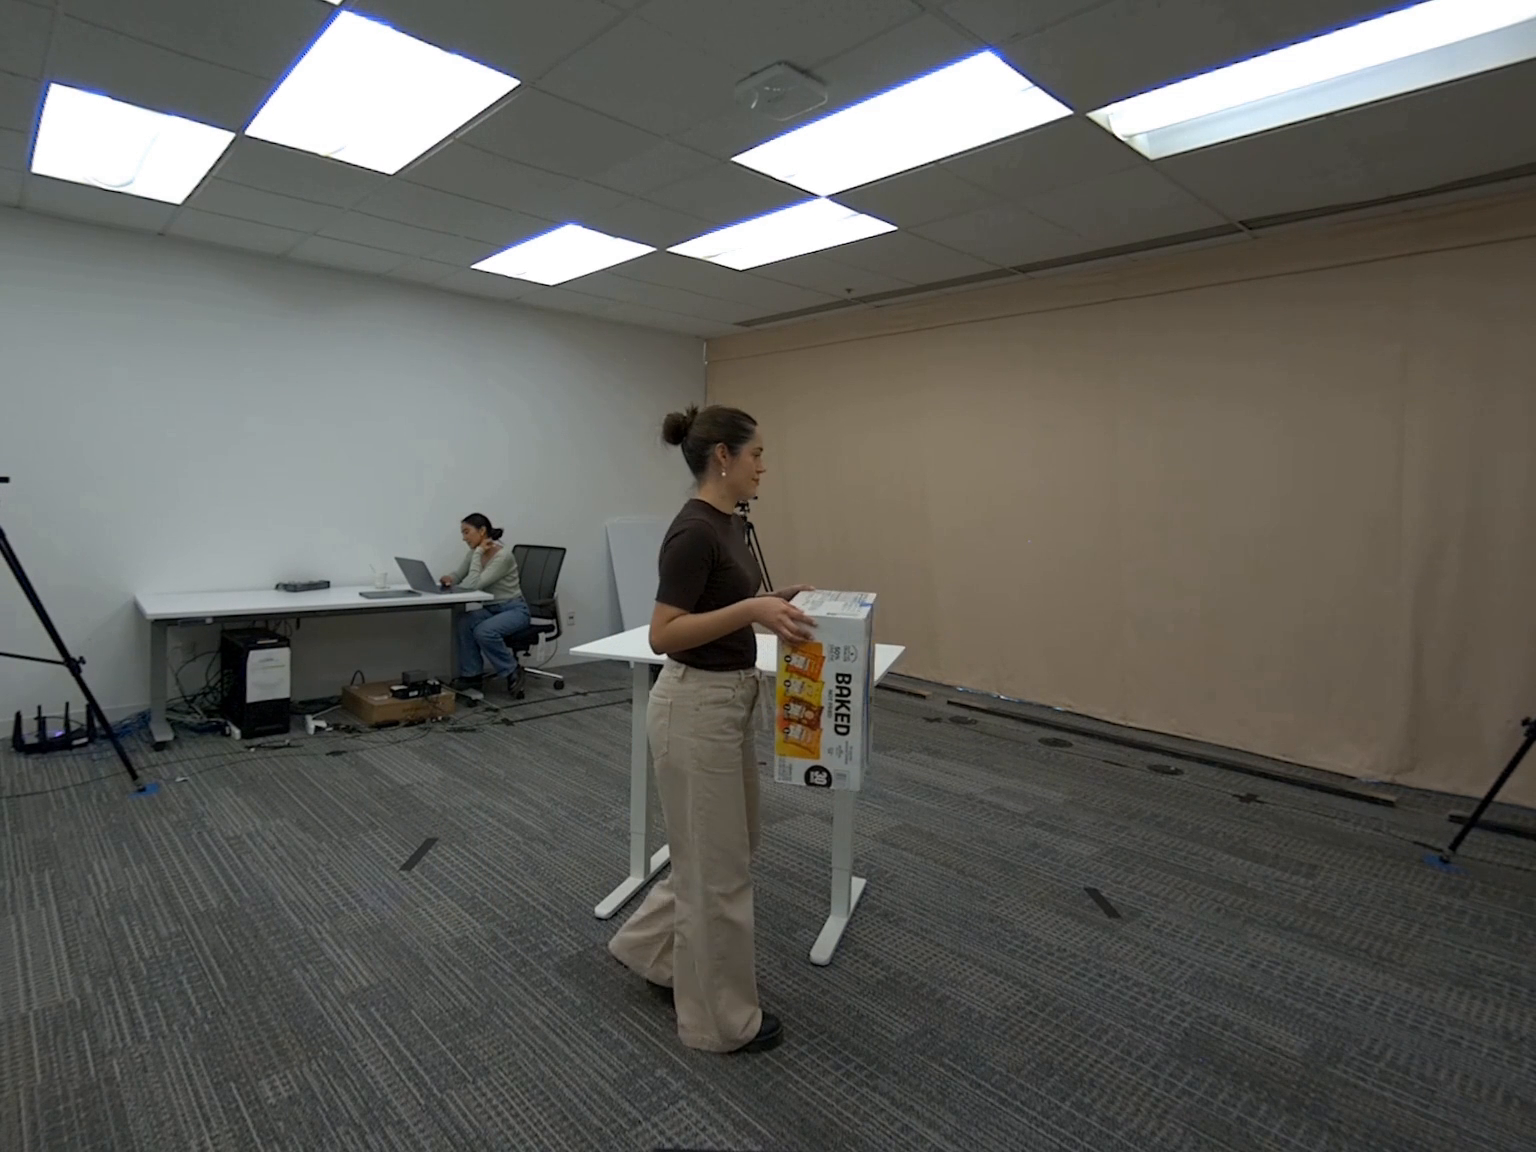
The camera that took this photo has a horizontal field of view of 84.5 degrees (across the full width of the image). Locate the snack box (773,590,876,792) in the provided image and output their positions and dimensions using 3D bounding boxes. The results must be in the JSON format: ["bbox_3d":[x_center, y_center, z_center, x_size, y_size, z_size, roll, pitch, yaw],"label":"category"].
[{"bbox_3d":[0.135,0.268,2.071,0.208,0.403,0.338,2,7,12],"label":"snack box"}]
